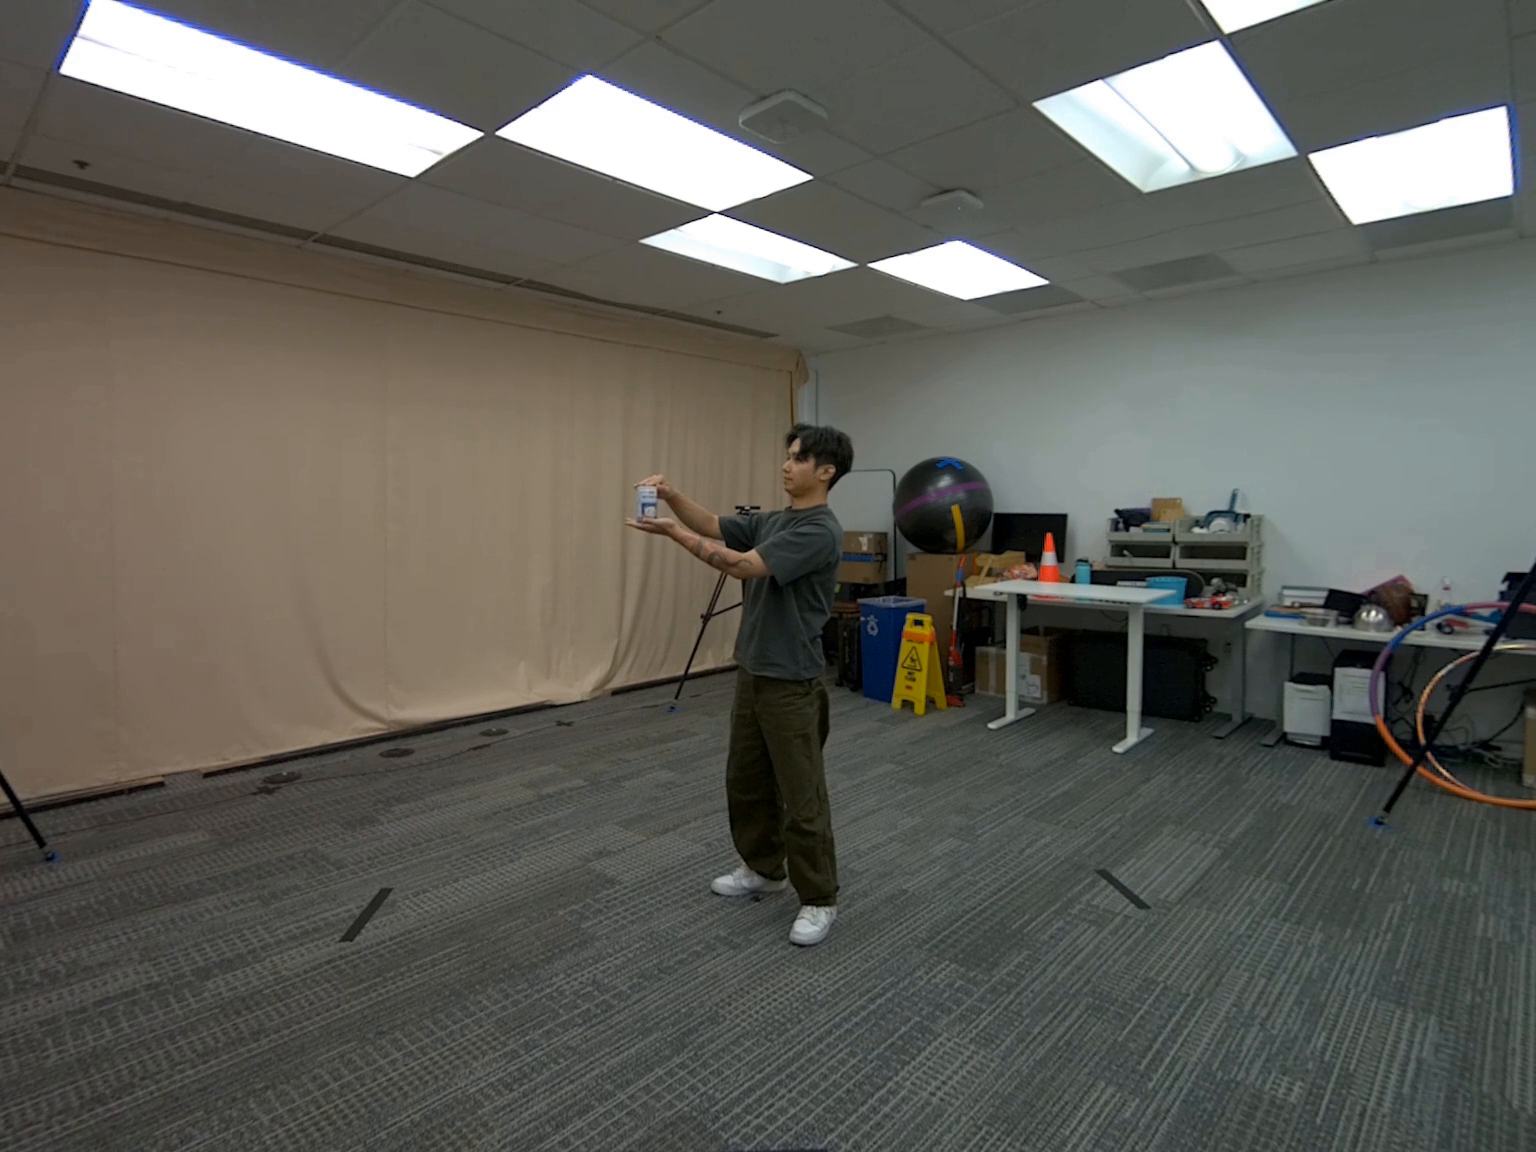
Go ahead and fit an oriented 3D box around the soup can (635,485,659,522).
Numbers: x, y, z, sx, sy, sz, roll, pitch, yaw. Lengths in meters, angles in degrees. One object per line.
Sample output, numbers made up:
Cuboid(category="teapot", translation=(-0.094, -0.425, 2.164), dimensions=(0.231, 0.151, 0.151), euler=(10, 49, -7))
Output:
Cuboid(category="soup can", translation=(-0.388, -0.227, 2.730), dimensions=(0.067, 0.121, 0.067), euler=(0, 4, -2))
